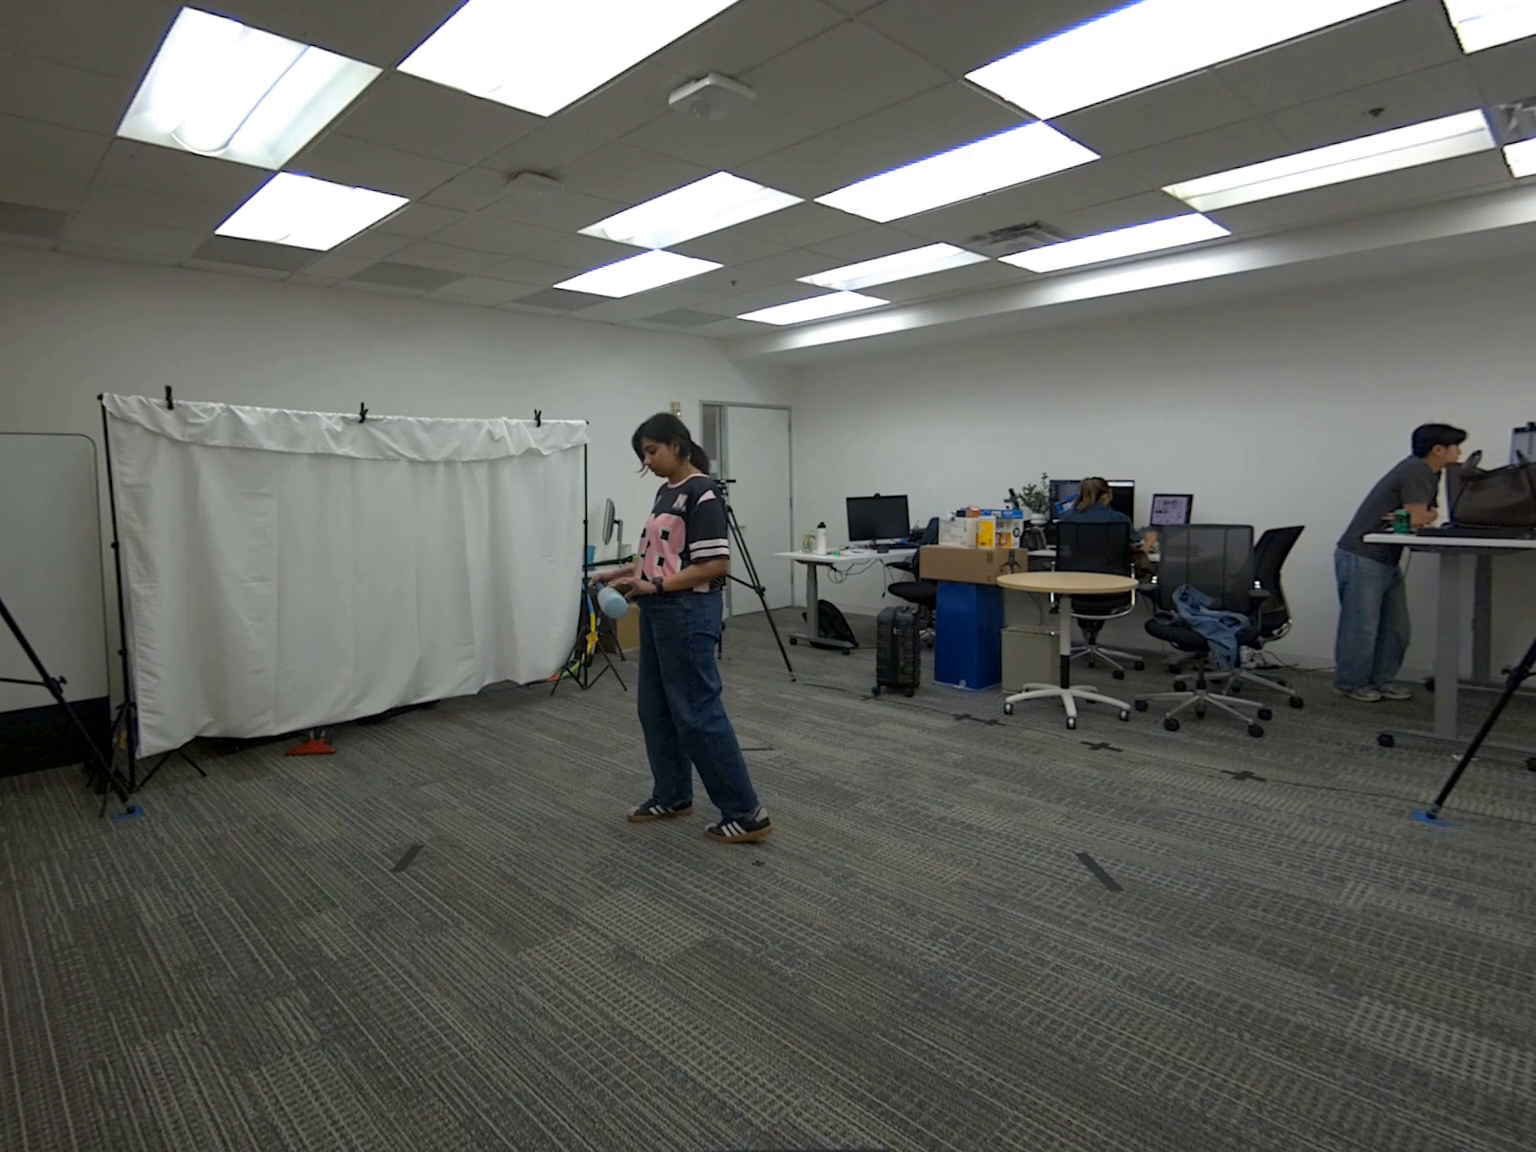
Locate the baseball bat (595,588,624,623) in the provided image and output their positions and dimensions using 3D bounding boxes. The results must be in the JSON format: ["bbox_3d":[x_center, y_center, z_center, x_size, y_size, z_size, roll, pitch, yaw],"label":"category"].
[{"bbox_3d":[-0.610,0.082,3.313,0.088,0.088,0.550,-2,8,-8],"label":"baseball bat"}]
